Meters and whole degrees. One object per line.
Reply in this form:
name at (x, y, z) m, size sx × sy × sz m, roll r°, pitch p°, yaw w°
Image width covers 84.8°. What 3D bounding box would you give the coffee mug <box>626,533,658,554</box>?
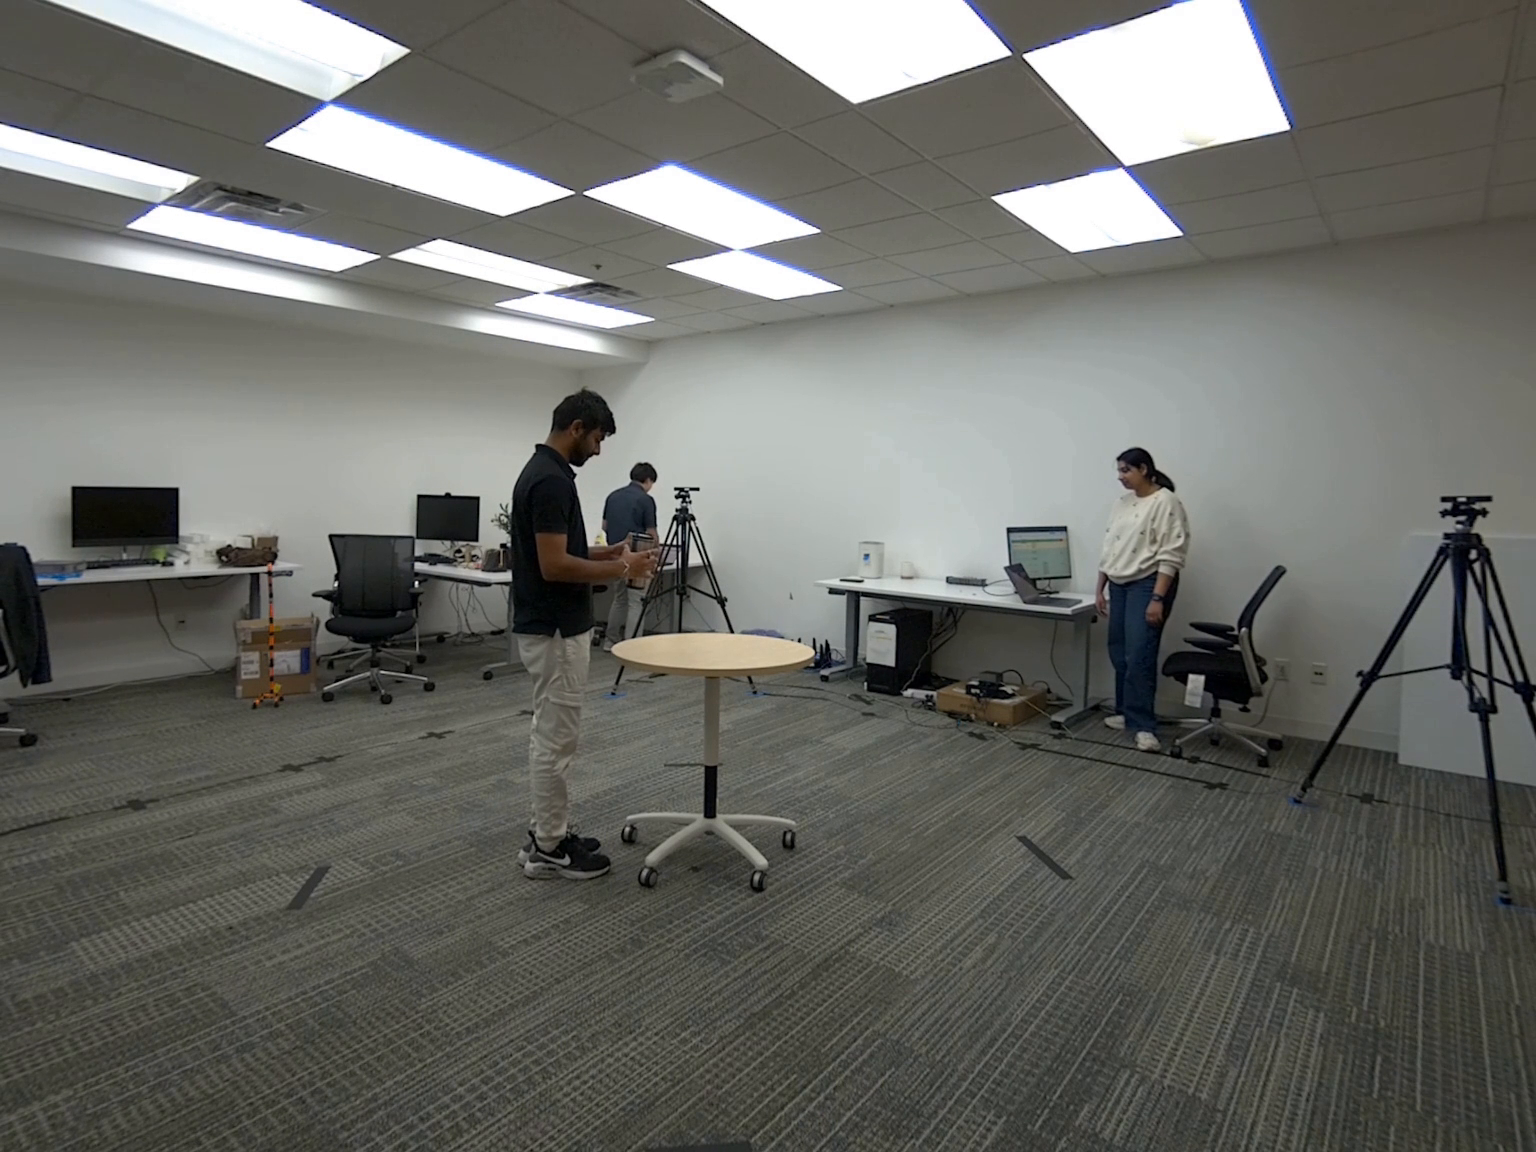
coffee mug at (-0.492, -0.055, 3.147) m, size 0.085 × 0.202 × 0.126 m, roll 4°, pitch 8°, yaw -33°
